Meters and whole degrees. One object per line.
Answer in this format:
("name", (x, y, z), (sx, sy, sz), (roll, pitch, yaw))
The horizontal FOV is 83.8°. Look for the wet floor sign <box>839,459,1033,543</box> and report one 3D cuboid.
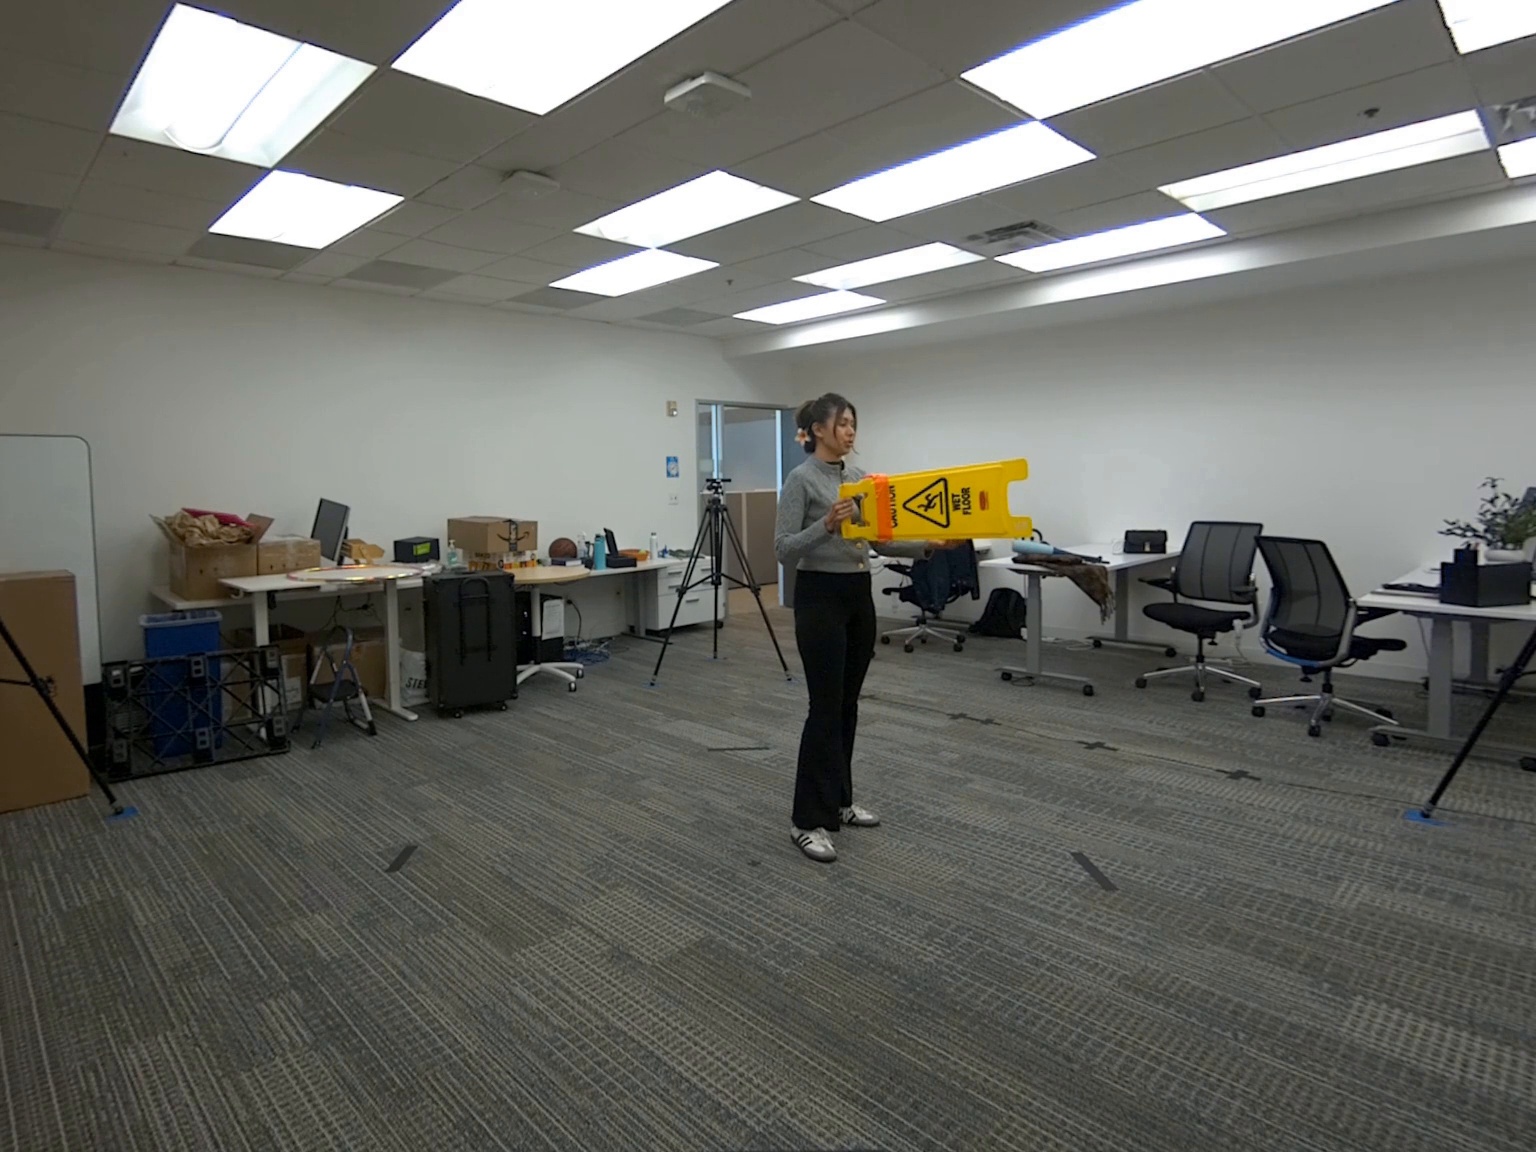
("wet floor sign", (0.576, -0.255, 3.095), (0.640, 0.281, 0.293), (-5, 3, -10))
